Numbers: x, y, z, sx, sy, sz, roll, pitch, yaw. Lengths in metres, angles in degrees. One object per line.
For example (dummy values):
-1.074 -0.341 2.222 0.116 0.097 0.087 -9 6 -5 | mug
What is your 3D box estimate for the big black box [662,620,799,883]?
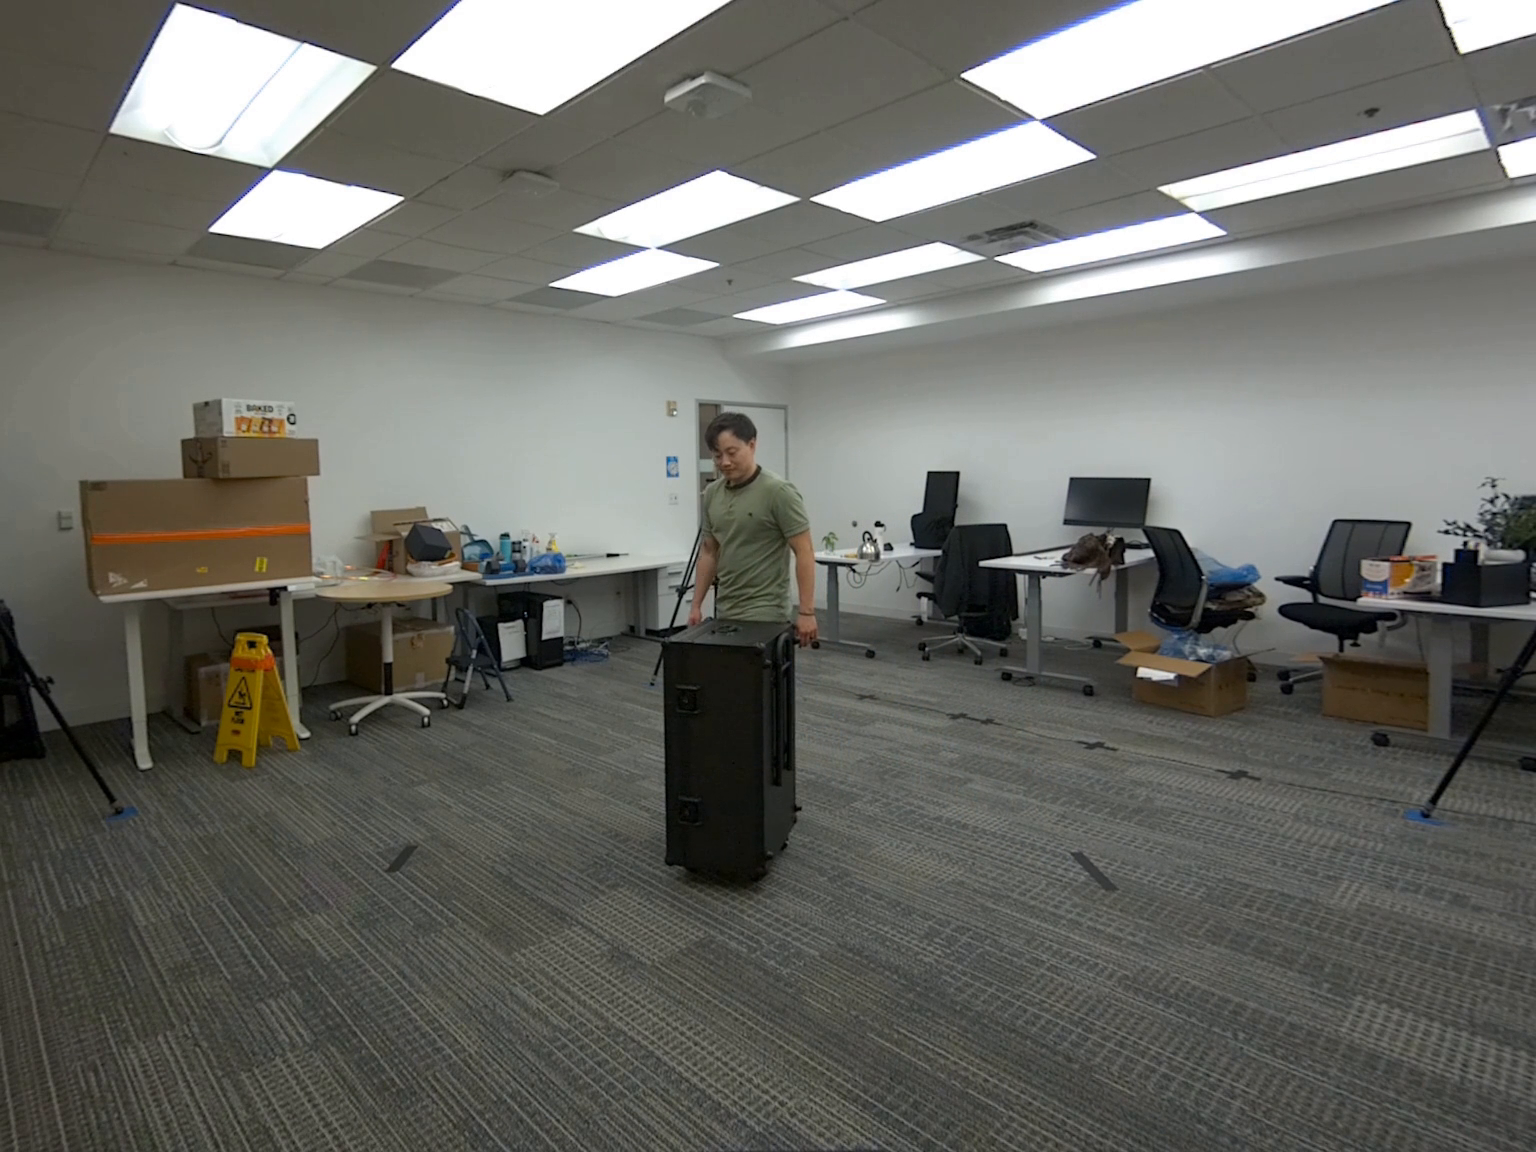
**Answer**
-0.116 0.625 3.101 0.403 0.859 0.514 1 4 17 | big black box
